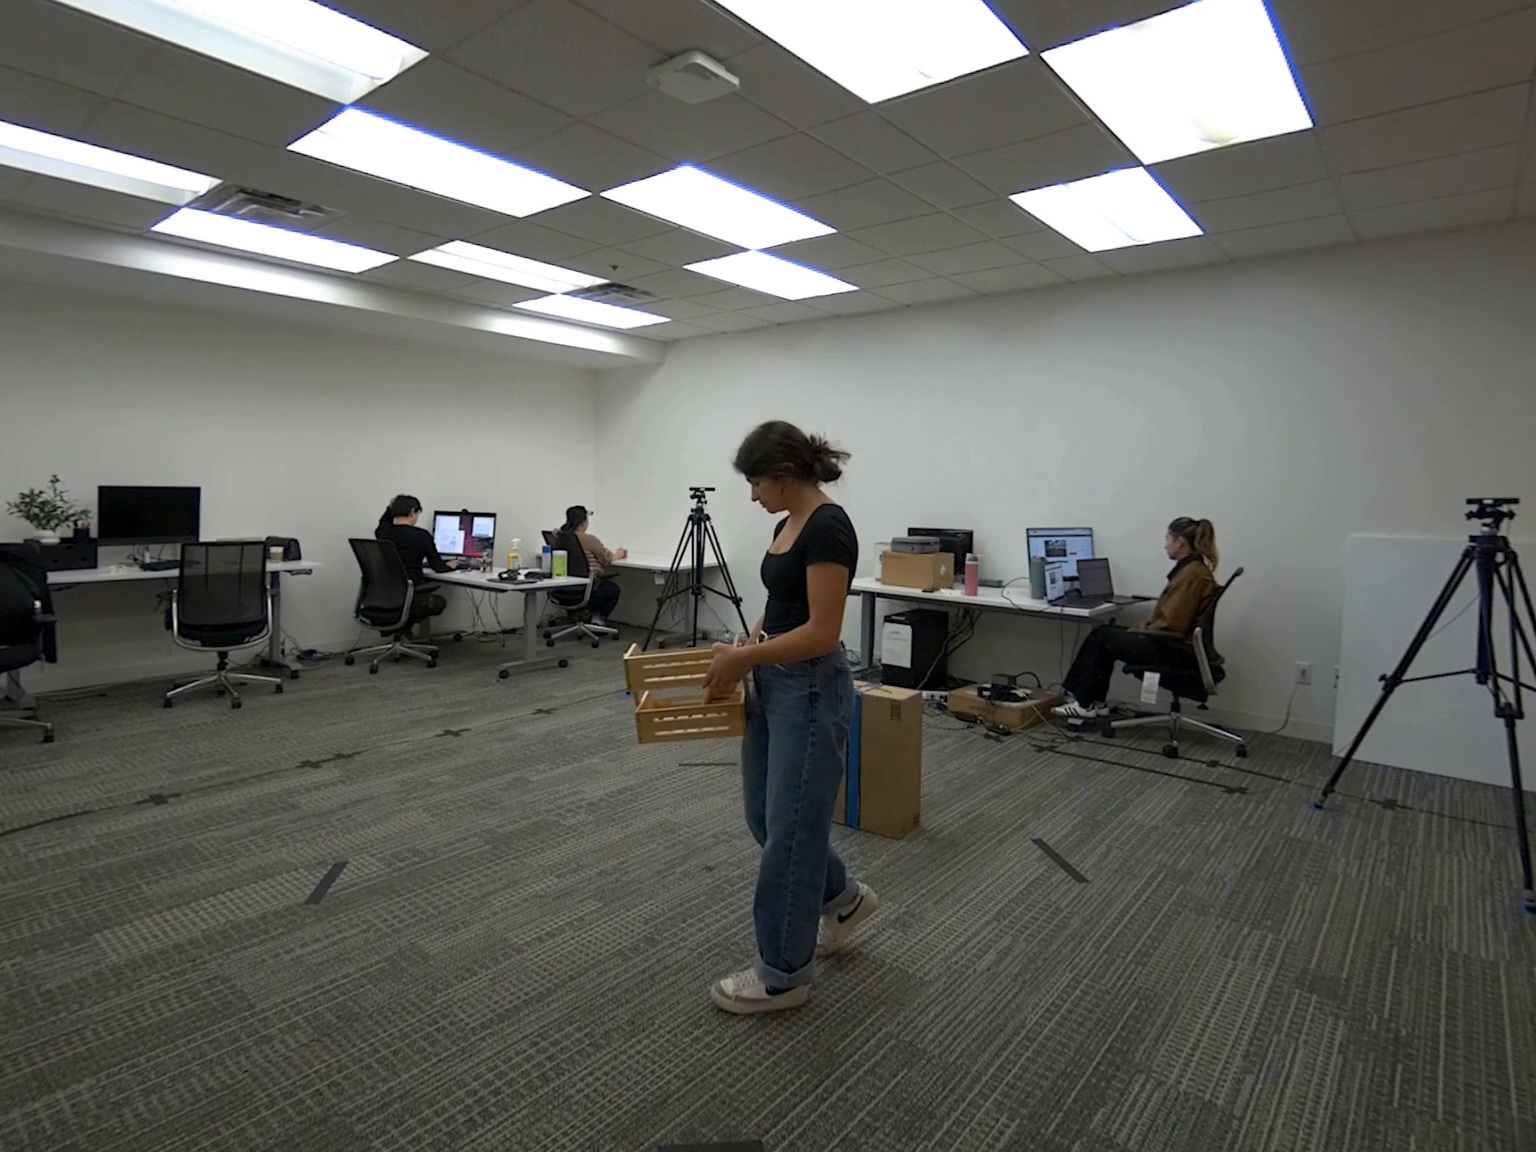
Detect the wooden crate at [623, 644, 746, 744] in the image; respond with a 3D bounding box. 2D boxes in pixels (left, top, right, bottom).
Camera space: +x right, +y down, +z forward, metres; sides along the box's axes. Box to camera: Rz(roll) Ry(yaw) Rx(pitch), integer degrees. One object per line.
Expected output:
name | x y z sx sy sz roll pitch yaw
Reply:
wooden crate | -0.235 0.297 2.427 0.325 0.271 0.304 -5 10 1
